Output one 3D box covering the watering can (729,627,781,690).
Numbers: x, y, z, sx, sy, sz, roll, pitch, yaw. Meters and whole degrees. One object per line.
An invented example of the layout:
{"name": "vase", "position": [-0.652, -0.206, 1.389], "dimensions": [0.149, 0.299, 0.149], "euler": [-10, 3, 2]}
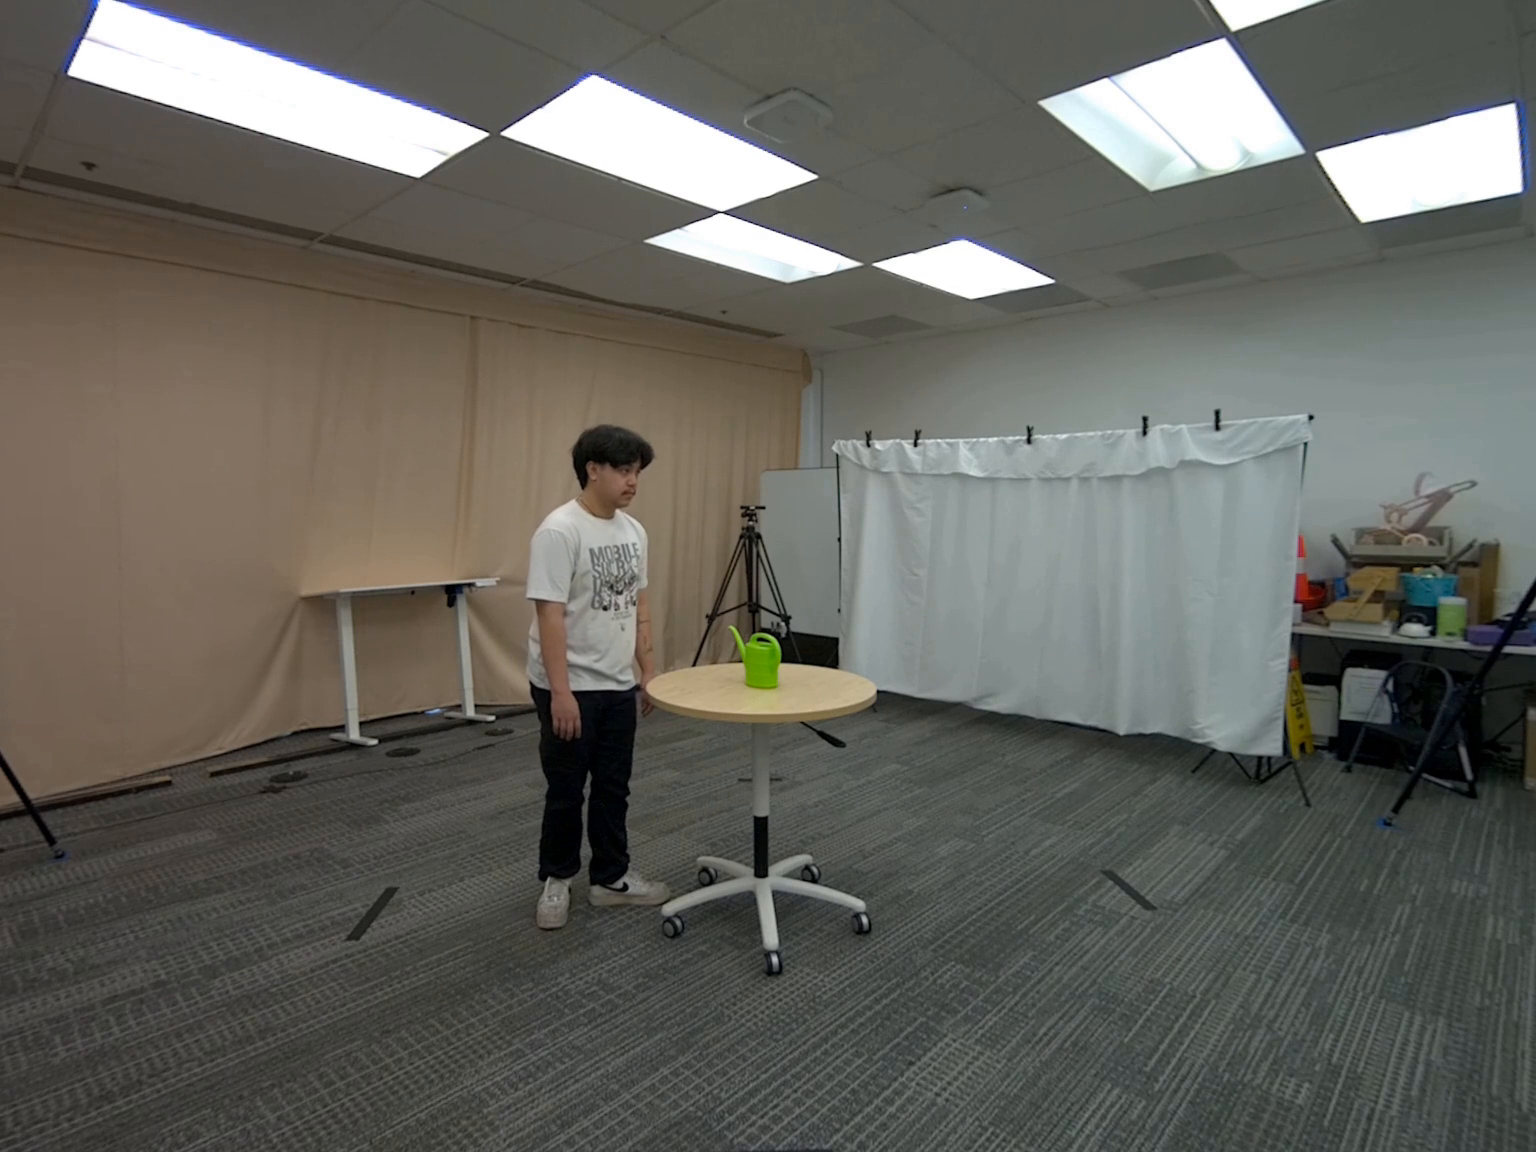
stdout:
{"name": "watering can", "position": [-0.038, 0.277, 2.838], "dimensions": [0.096, 0.176, 0.286], "euler": [-1, 5, -26]}
